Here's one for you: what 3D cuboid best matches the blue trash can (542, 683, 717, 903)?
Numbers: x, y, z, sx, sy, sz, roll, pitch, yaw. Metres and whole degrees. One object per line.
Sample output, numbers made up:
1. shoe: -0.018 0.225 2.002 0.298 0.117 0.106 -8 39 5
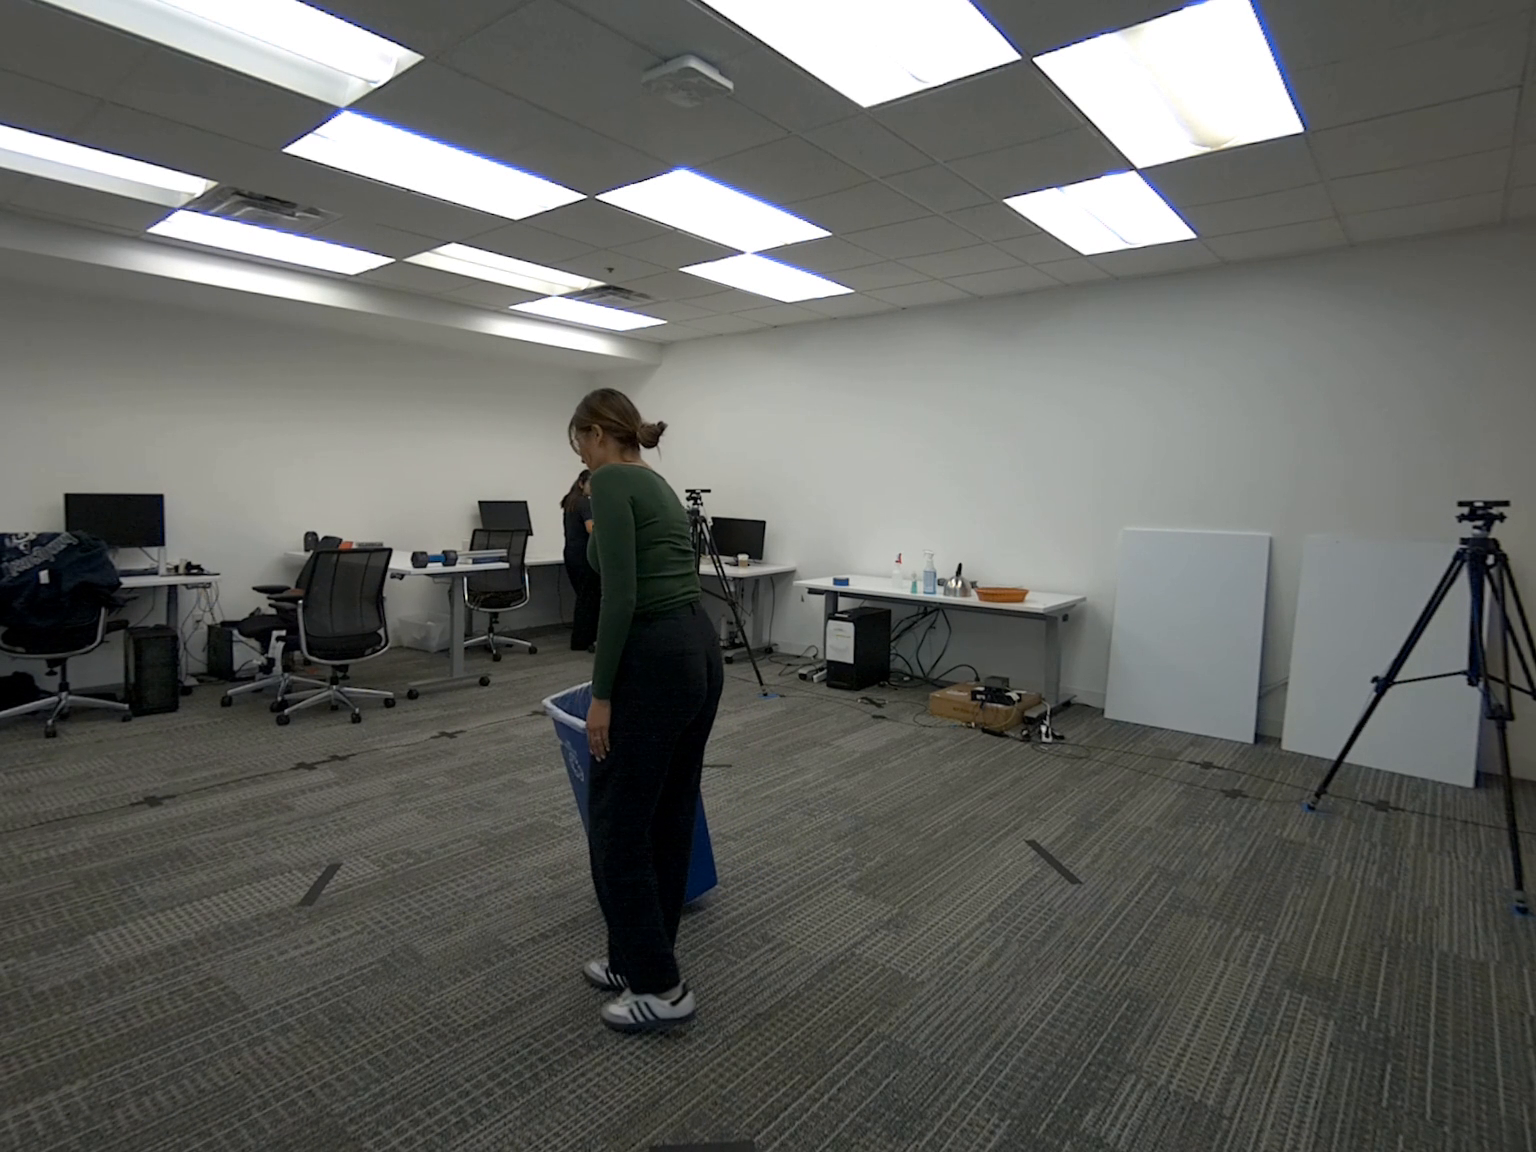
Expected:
1. blue trash can: -0.441 0.710 2.819 0.367 0.704 0.390 -20 14 -33
